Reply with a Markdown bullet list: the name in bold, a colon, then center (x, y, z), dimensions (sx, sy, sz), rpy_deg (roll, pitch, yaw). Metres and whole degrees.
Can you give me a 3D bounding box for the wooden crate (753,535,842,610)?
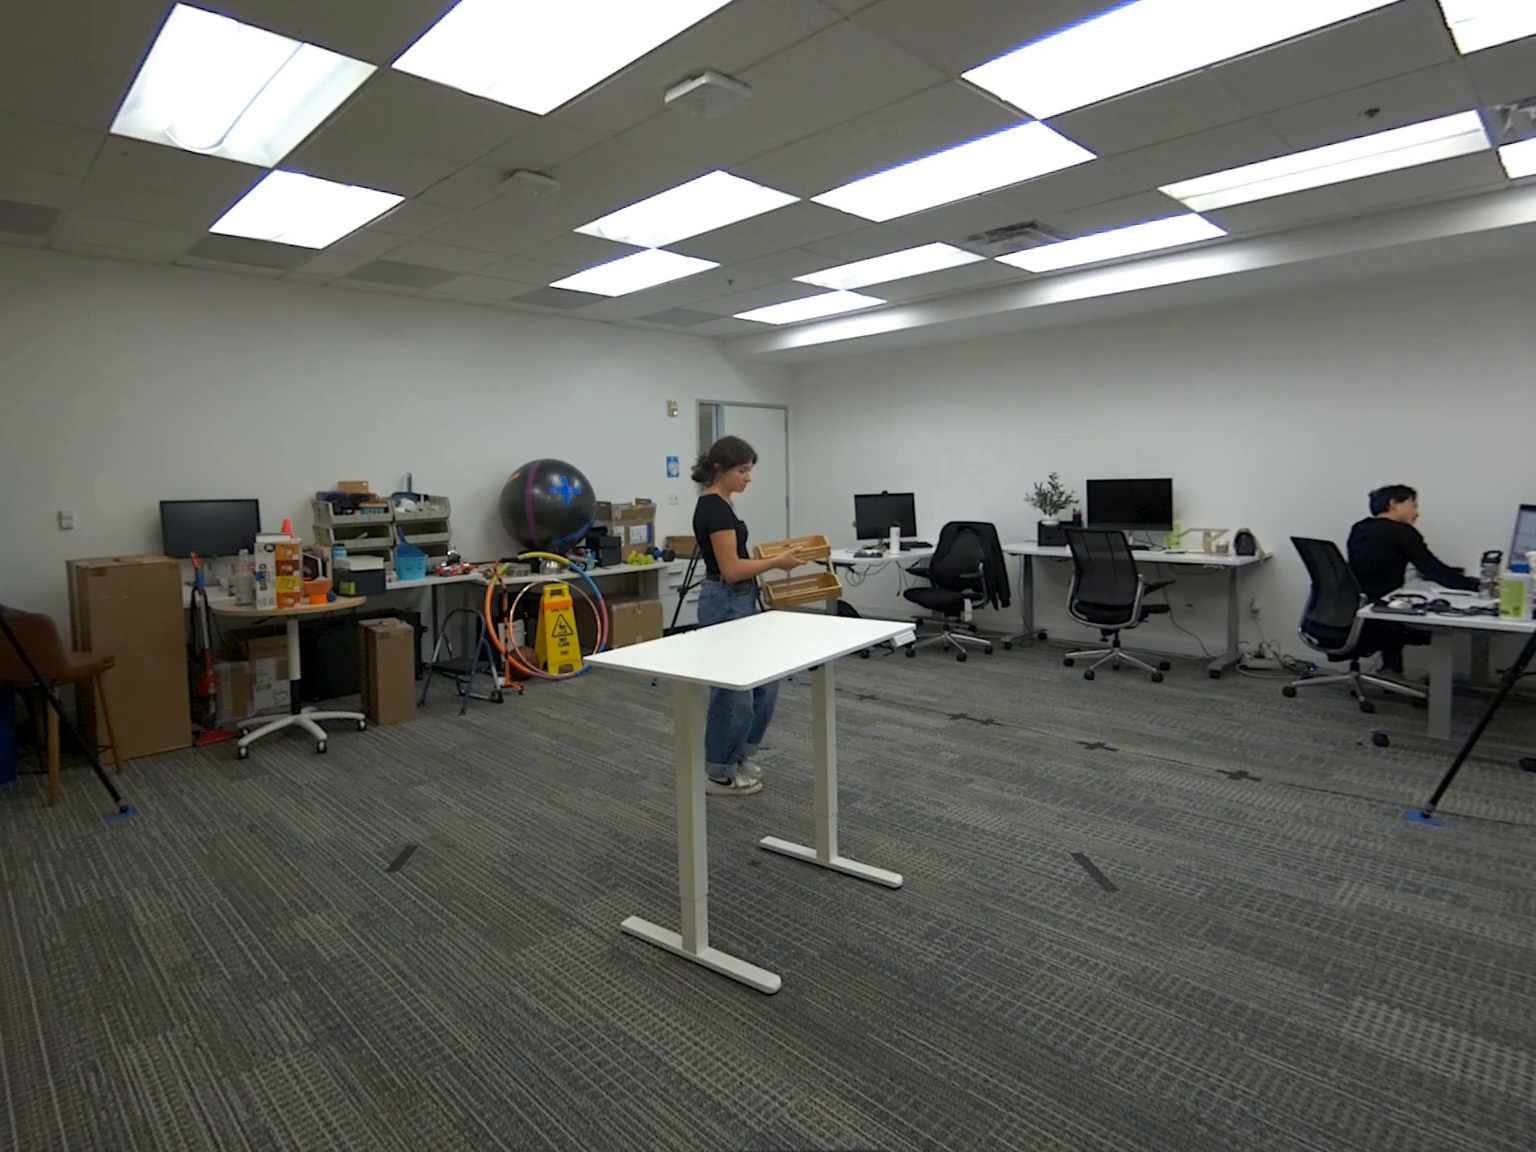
- **wooden crate**: center (0.119, -0.025, 3.708), dimensions (0.322, 0.273, 0.304), rpy_deg (-9, 3, -7)
